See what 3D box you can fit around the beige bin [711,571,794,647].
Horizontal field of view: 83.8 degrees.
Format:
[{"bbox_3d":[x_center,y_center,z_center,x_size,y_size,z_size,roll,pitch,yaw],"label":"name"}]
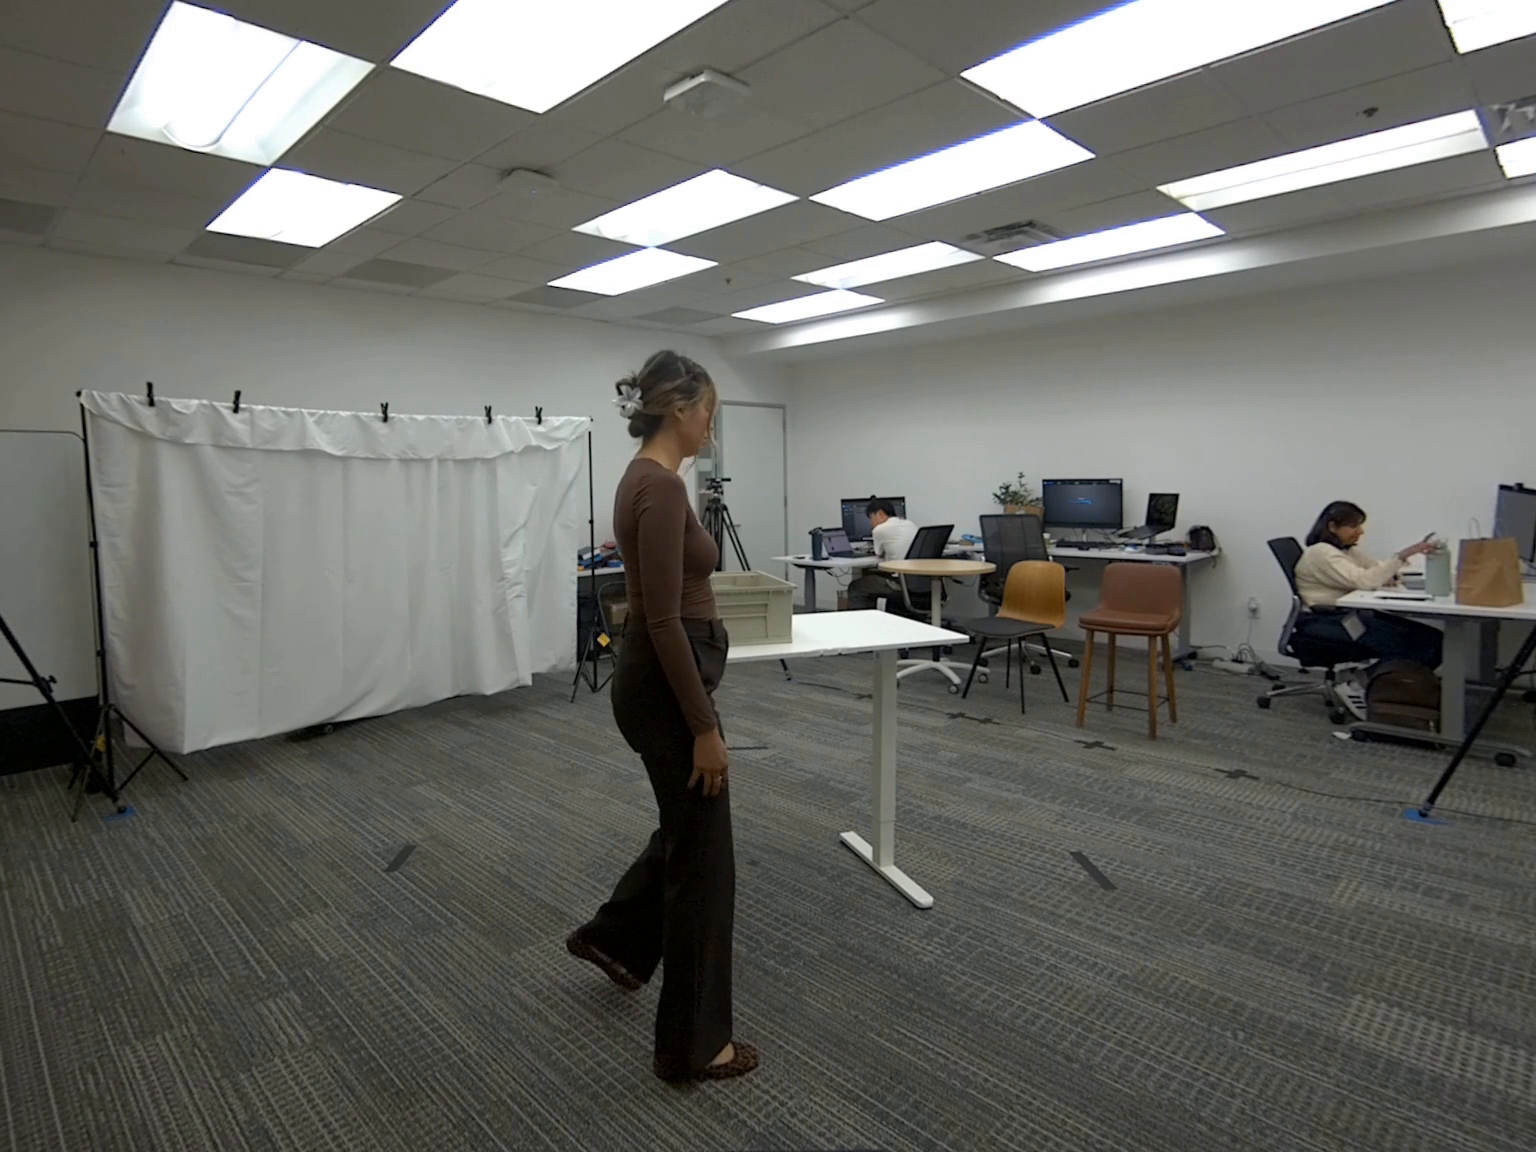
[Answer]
[{"bbox_3d":[-0.143,0.105,2.809,0.372,0.188,0.430,-1,6,-16],"label":"beige bin"}]
